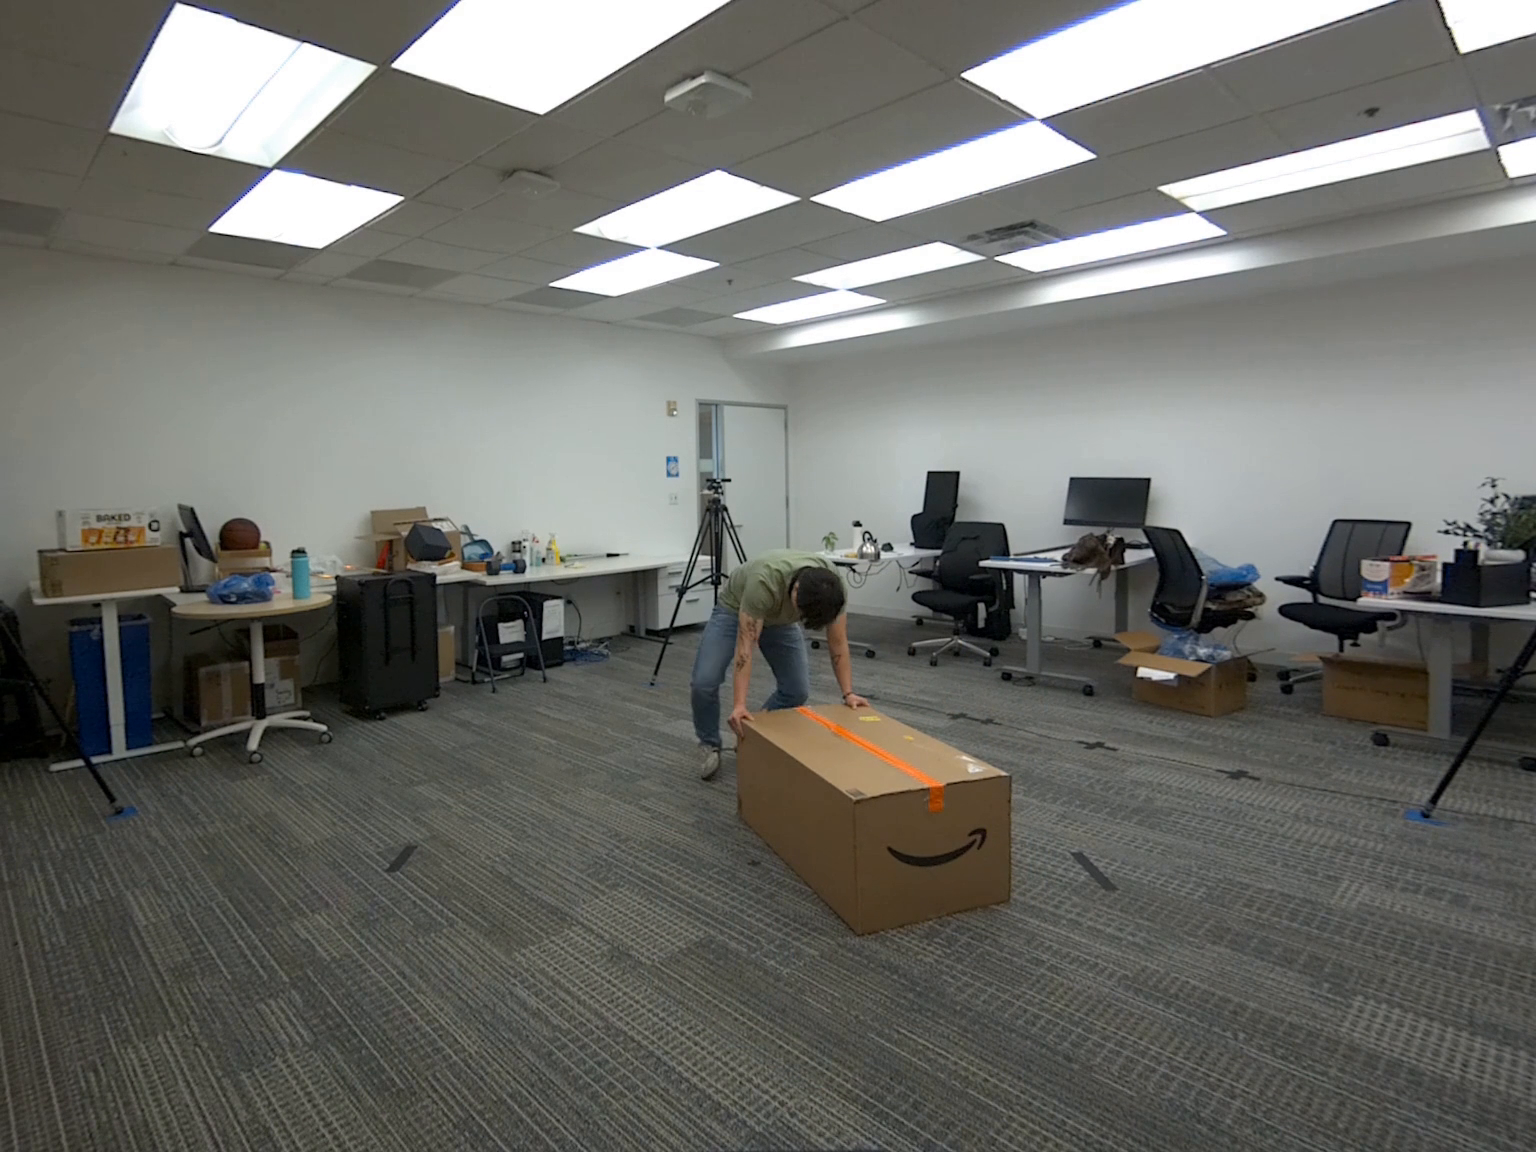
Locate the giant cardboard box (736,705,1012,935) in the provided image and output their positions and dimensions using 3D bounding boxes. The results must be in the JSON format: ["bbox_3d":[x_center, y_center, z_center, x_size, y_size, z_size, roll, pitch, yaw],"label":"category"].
[{"bbox_3d":[0.333,0.816,3.161,0.566,0.425,1.049,-2,5,-22],"label":"giant cardboard box"}]
